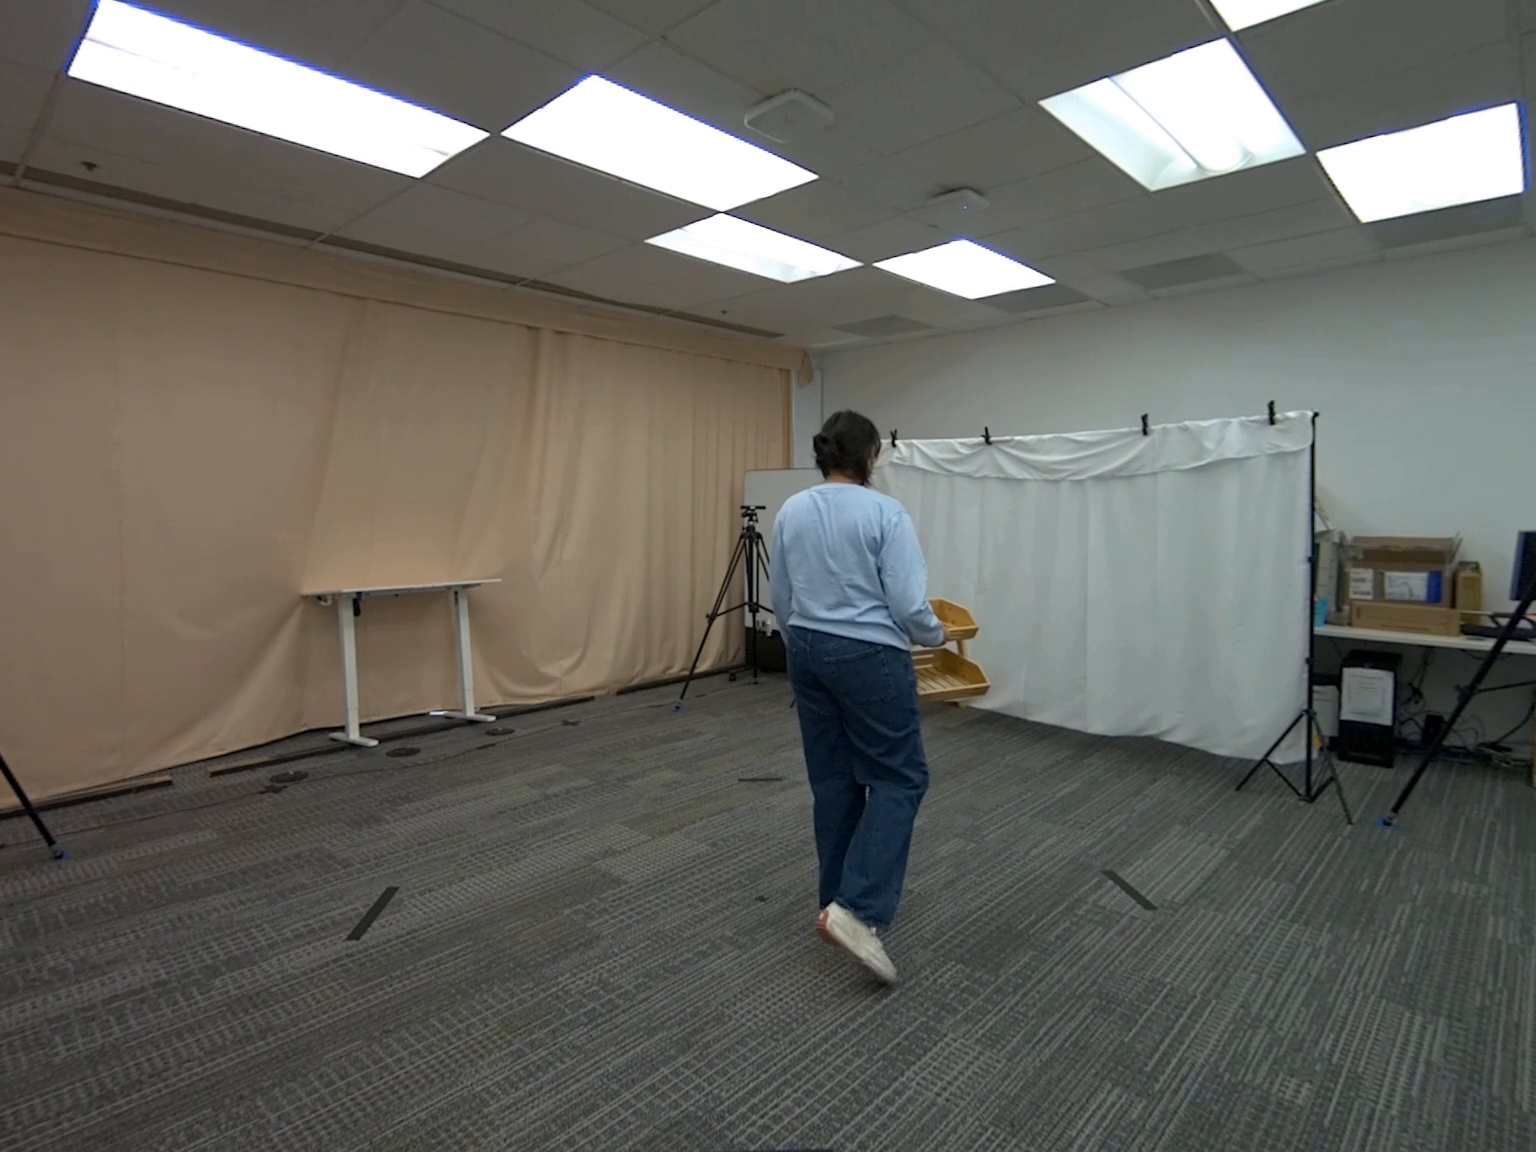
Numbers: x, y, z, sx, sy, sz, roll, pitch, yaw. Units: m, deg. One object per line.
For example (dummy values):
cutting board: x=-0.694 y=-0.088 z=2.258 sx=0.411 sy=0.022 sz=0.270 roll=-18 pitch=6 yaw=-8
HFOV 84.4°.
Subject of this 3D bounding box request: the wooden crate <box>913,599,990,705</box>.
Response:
wooden crate: x=0.567 y=0.252 z=2.854 sx=0.316 sy=0.271 sz=0.312 roll=-3 pitch=16 yaw=-27
